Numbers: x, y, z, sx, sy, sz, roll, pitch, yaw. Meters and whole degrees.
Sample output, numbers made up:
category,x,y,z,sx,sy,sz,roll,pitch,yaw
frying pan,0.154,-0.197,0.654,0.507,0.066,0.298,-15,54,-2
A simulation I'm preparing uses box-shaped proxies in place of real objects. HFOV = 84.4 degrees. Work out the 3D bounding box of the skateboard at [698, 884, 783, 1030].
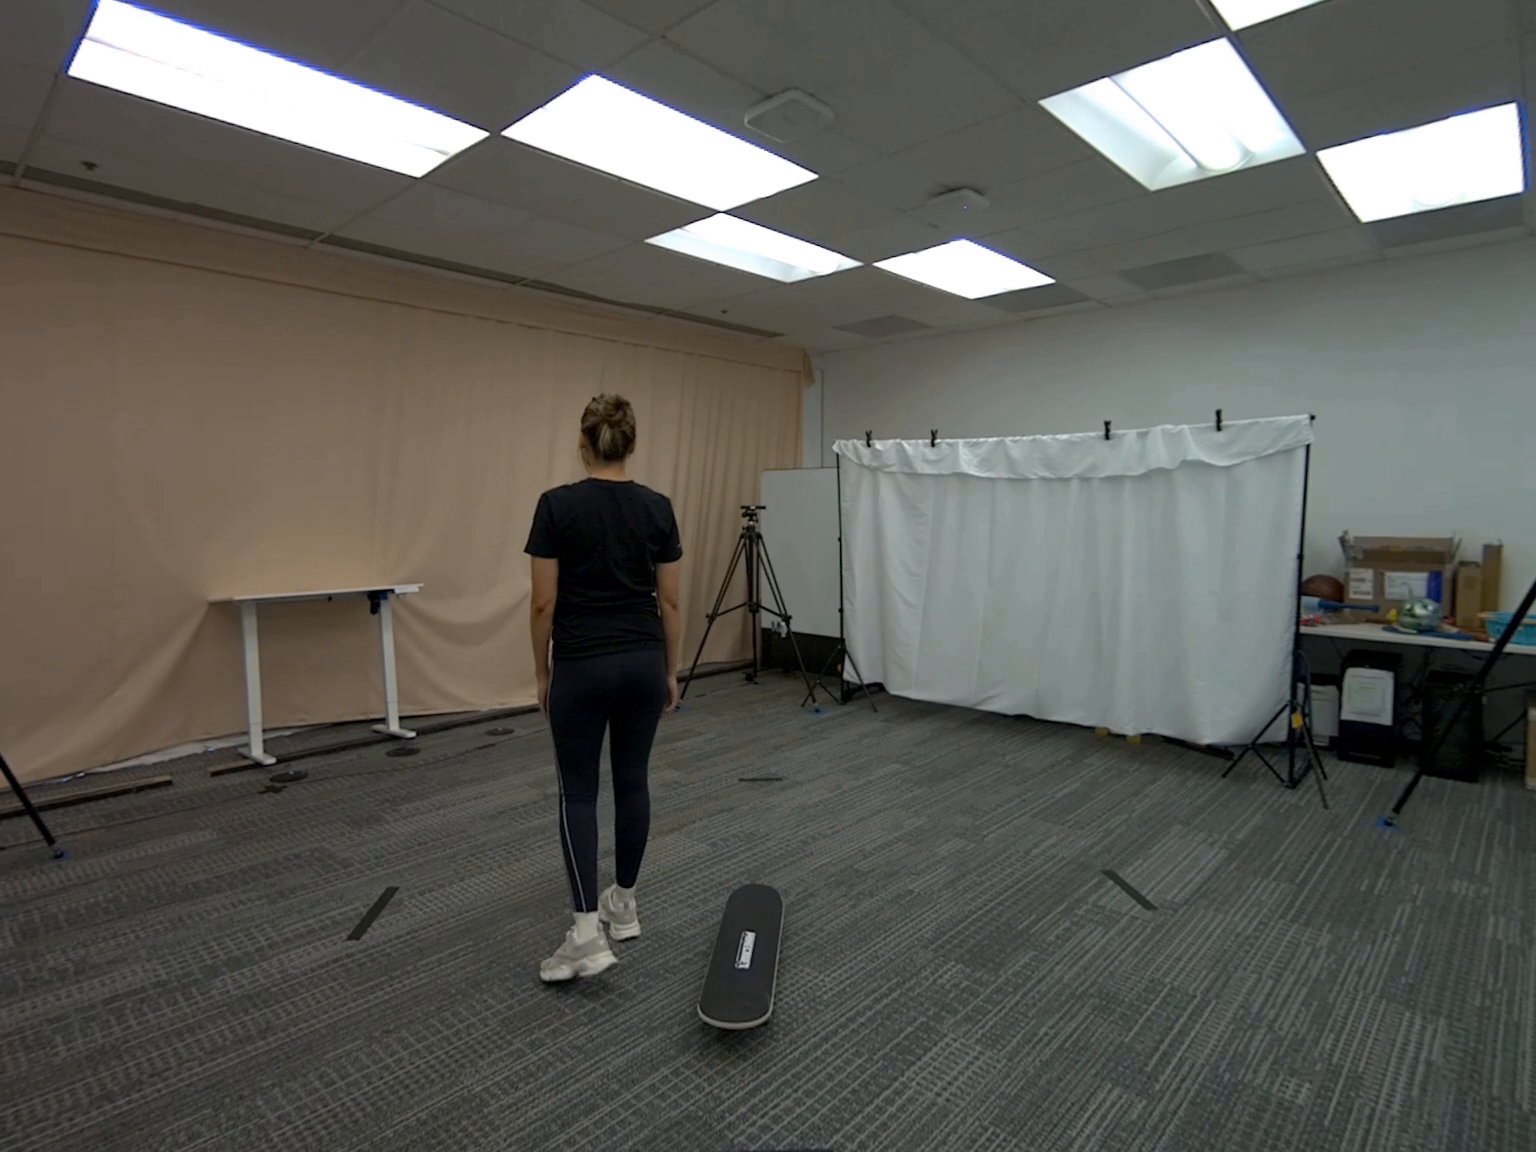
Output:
category,x,y,z,sx,sy,sz,roll,pitch,yaw
skateboard,-0.066,1.129,2.476,0.195,0.110,0.782,0,4,5
